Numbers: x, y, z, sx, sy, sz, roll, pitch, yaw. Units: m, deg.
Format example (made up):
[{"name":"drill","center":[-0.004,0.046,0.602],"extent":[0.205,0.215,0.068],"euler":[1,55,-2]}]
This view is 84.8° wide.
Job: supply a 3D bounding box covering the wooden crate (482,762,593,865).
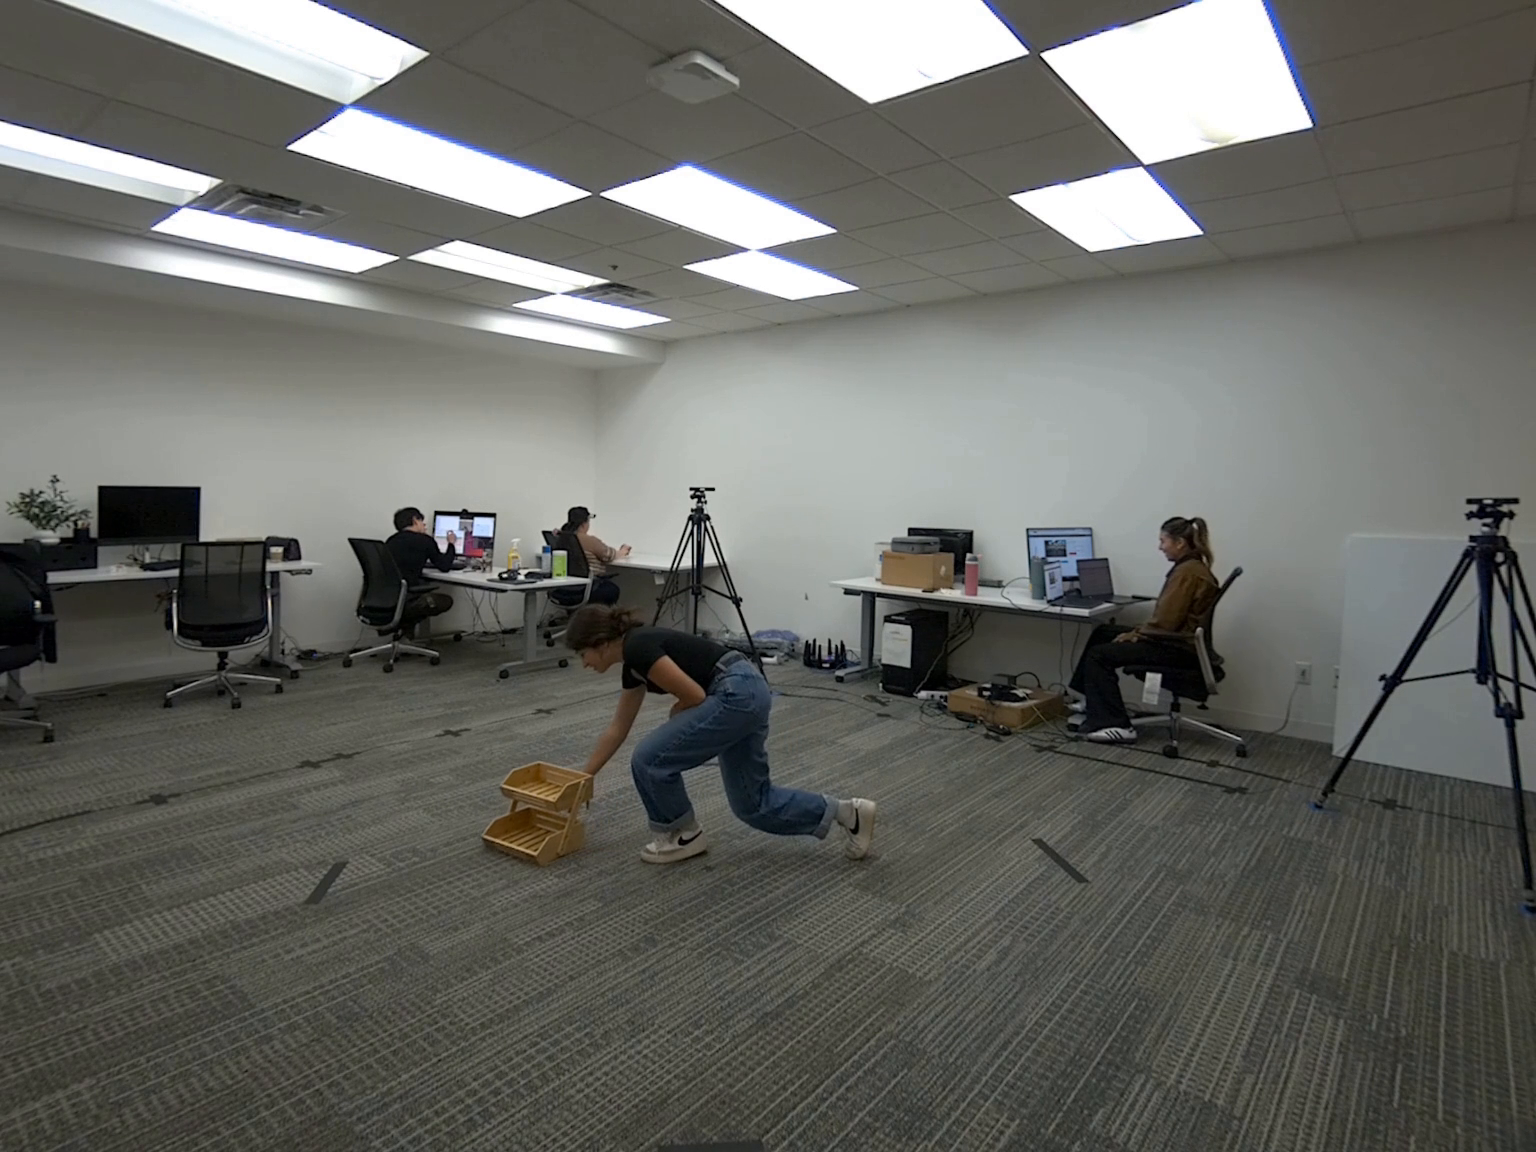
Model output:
[{"name":"wooden crate","center":[-0.905,0.908,3.288],"extent":[0.334,0.272,0.294],"euler":[4,4,31]}]
